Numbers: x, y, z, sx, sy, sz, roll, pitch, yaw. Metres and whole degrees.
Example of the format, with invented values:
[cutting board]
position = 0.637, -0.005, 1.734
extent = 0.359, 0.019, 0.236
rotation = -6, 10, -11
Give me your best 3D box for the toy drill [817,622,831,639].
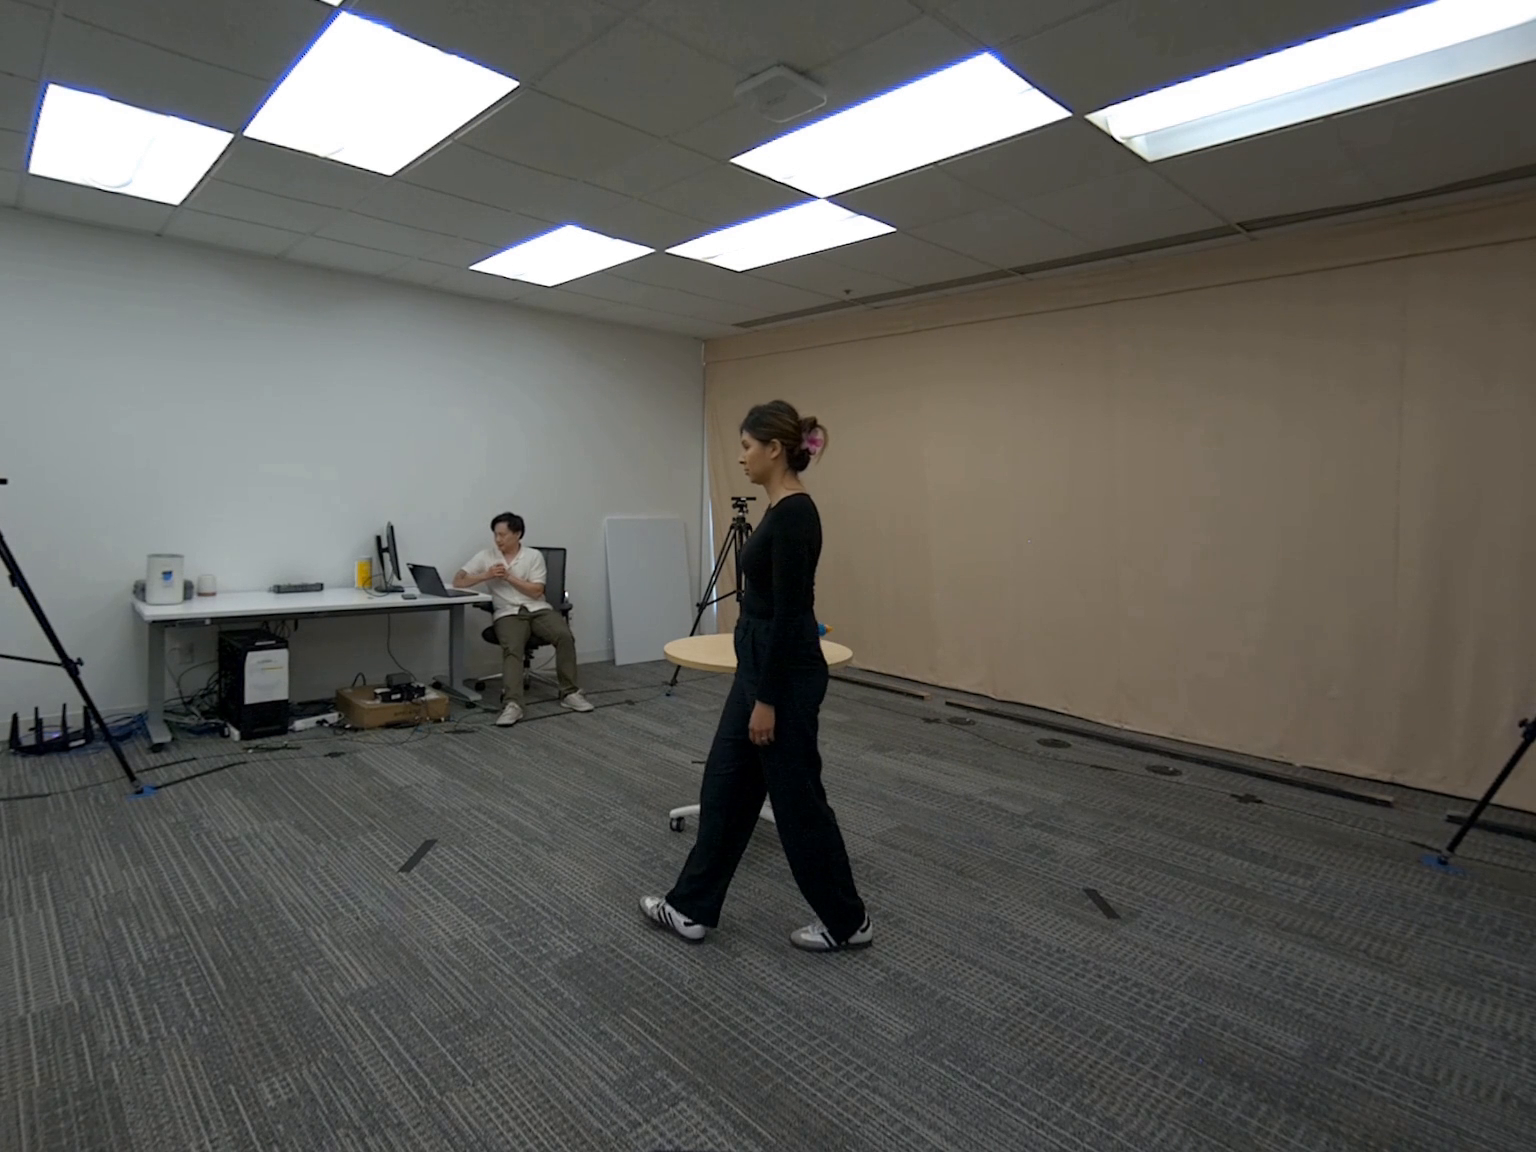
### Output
[toy drill]
position = 0.187, 0.250, 3.221
extent = 0.062, 0.145, 0.166
rotation = 4, 5, 37
